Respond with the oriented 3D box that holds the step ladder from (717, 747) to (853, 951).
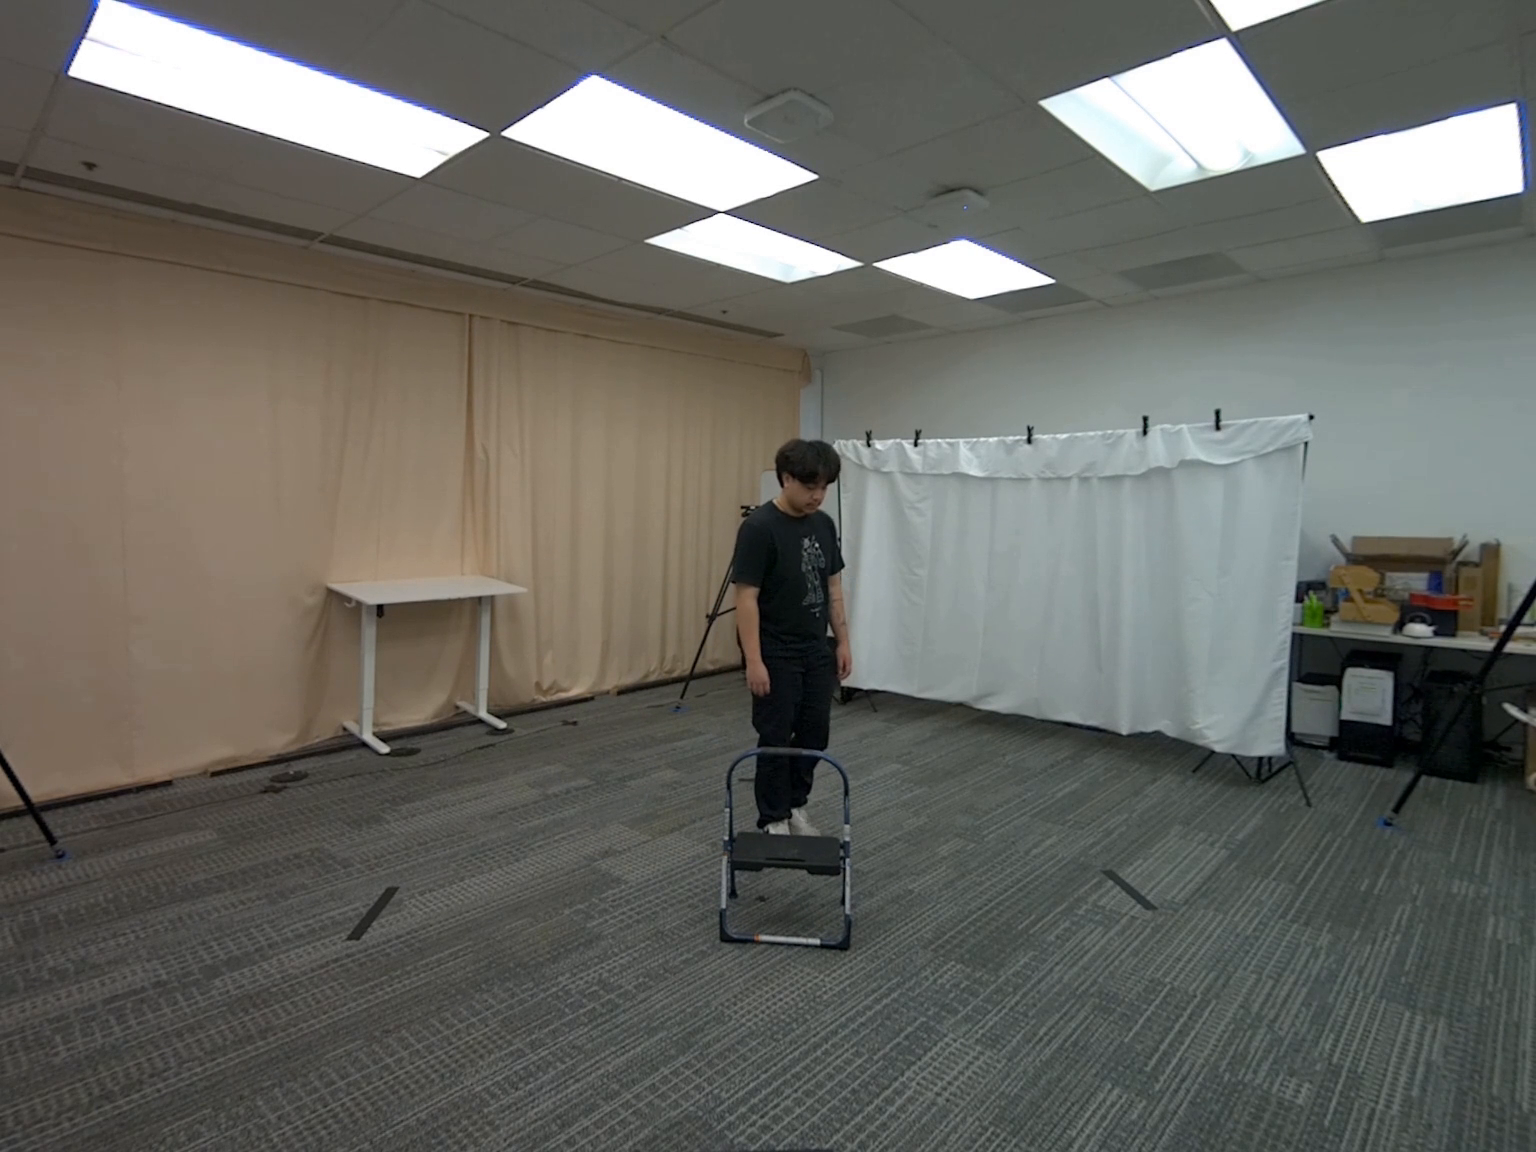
[{"bbox_3d":[0.061,0.859,2.811,0.434,0.605,0.347,0,3,6],"label":"step ladder"}]
